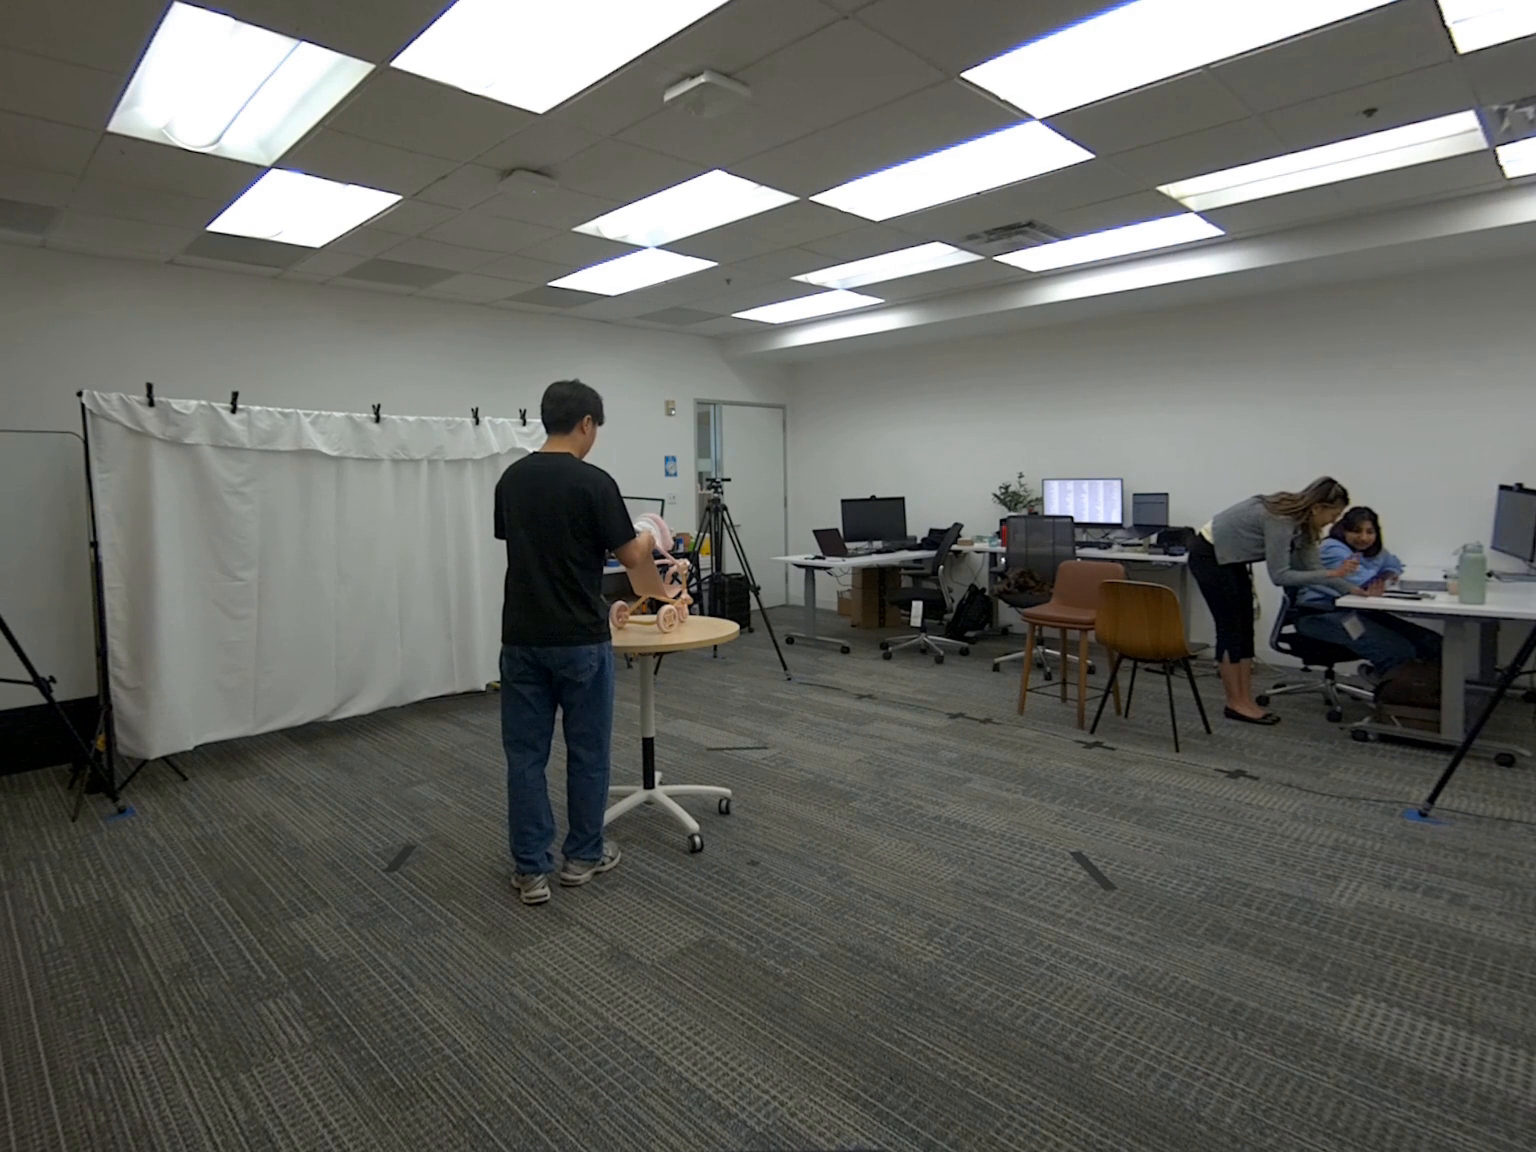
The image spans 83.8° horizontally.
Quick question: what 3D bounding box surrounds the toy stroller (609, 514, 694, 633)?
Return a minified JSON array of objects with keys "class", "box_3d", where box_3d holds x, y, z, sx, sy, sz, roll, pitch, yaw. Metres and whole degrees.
[{"class":"toy stroller","box_3d":[-0.462,-0.015,3.458,0.290,0.527,0.337,3,19,38]}]
